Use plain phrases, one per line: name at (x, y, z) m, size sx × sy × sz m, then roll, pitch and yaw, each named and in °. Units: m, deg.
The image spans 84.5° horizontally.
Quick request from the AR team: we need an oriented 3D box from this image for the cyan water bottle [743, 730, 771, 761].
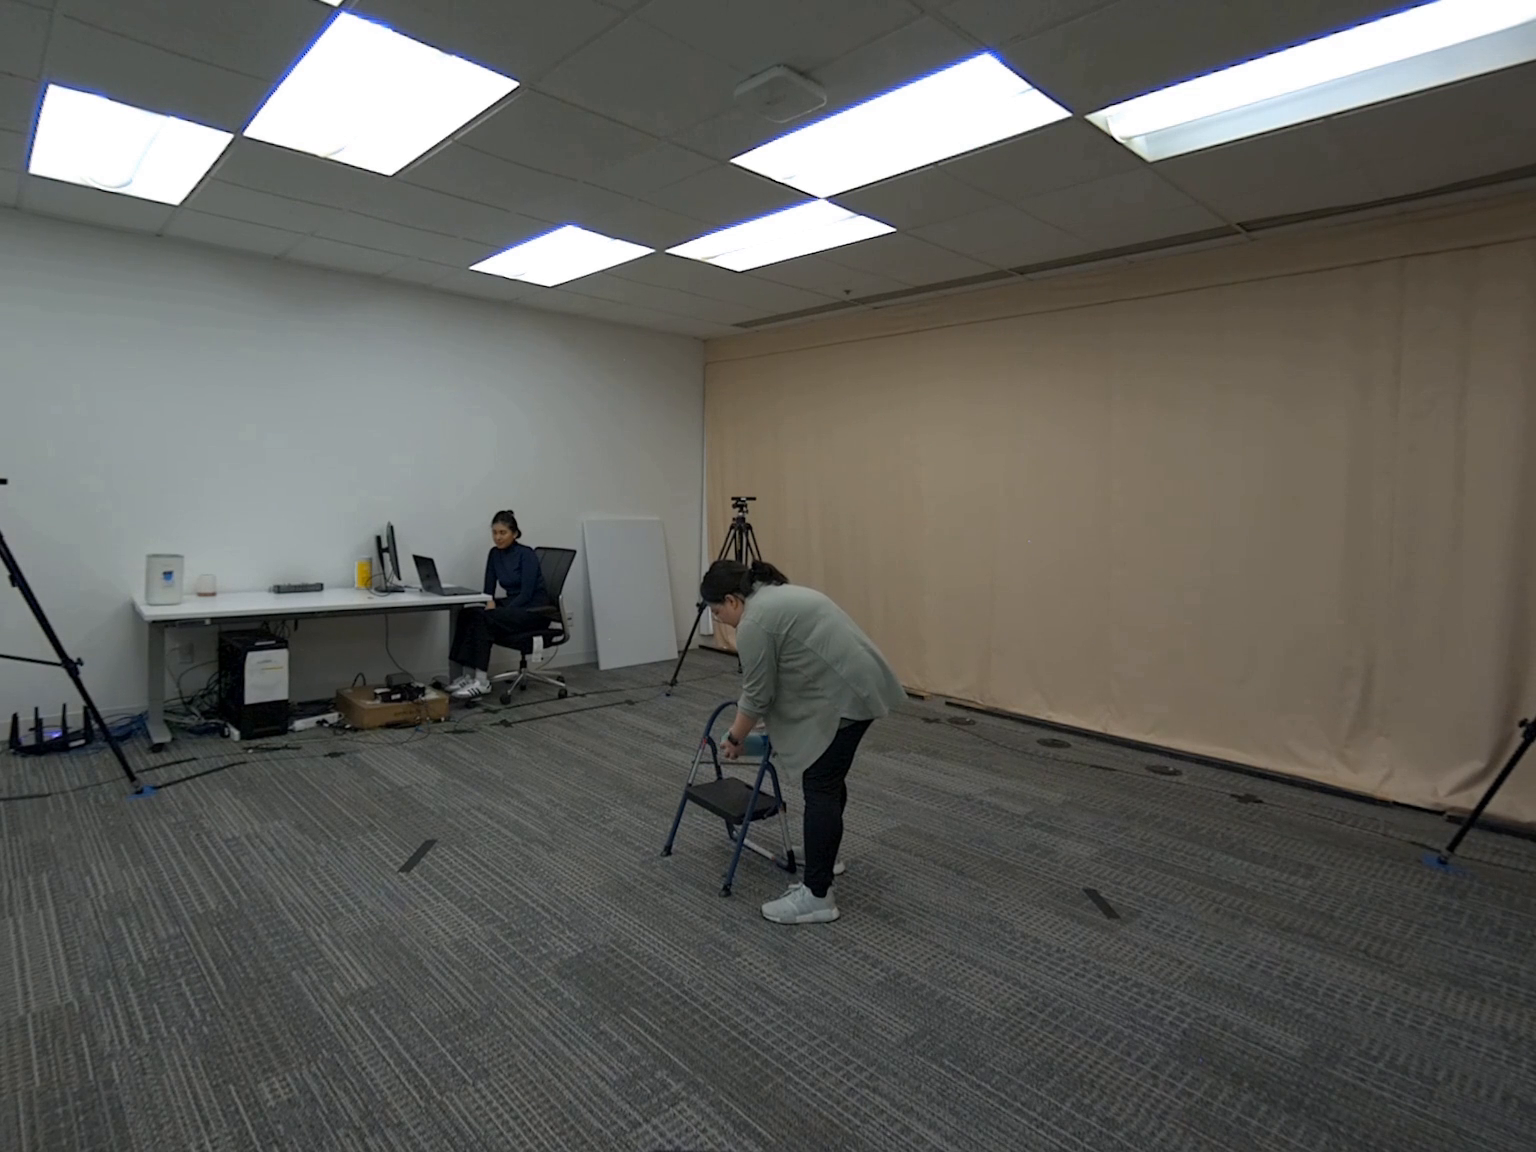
cyan water bottle at (-0.085, 0.643, 3.217) m, size 0.094 × 0.093 × 0.276 m, roll 3°, pitch -10°, yaw 25°
